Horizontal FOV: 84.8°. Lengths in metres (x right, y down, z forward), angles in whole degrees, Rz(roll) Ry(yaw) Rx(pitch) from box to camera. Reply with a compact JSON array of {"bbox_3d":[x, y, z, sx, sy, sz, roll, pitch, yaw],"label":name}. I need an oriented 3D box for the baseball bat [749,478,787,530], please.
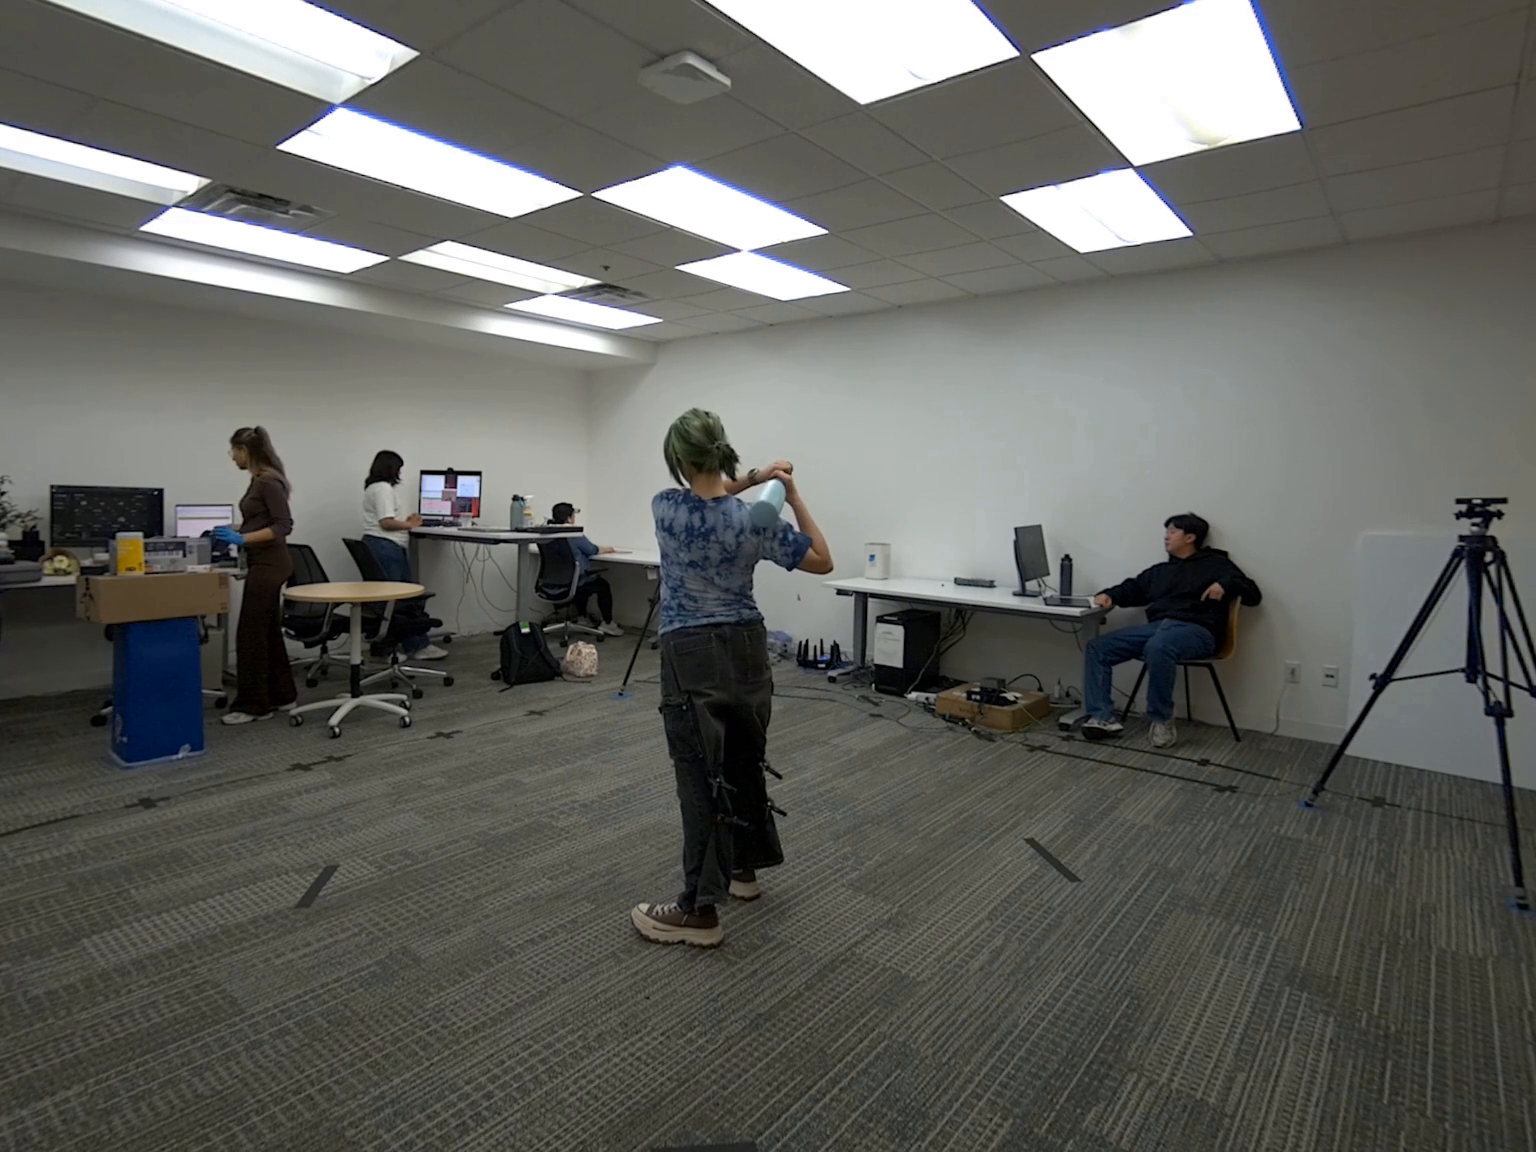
[{"bbox_3d":[0.002,-0.278,2.686,0.090,0.087,0.548,1,22,6],"label":"baseball bat"}]
